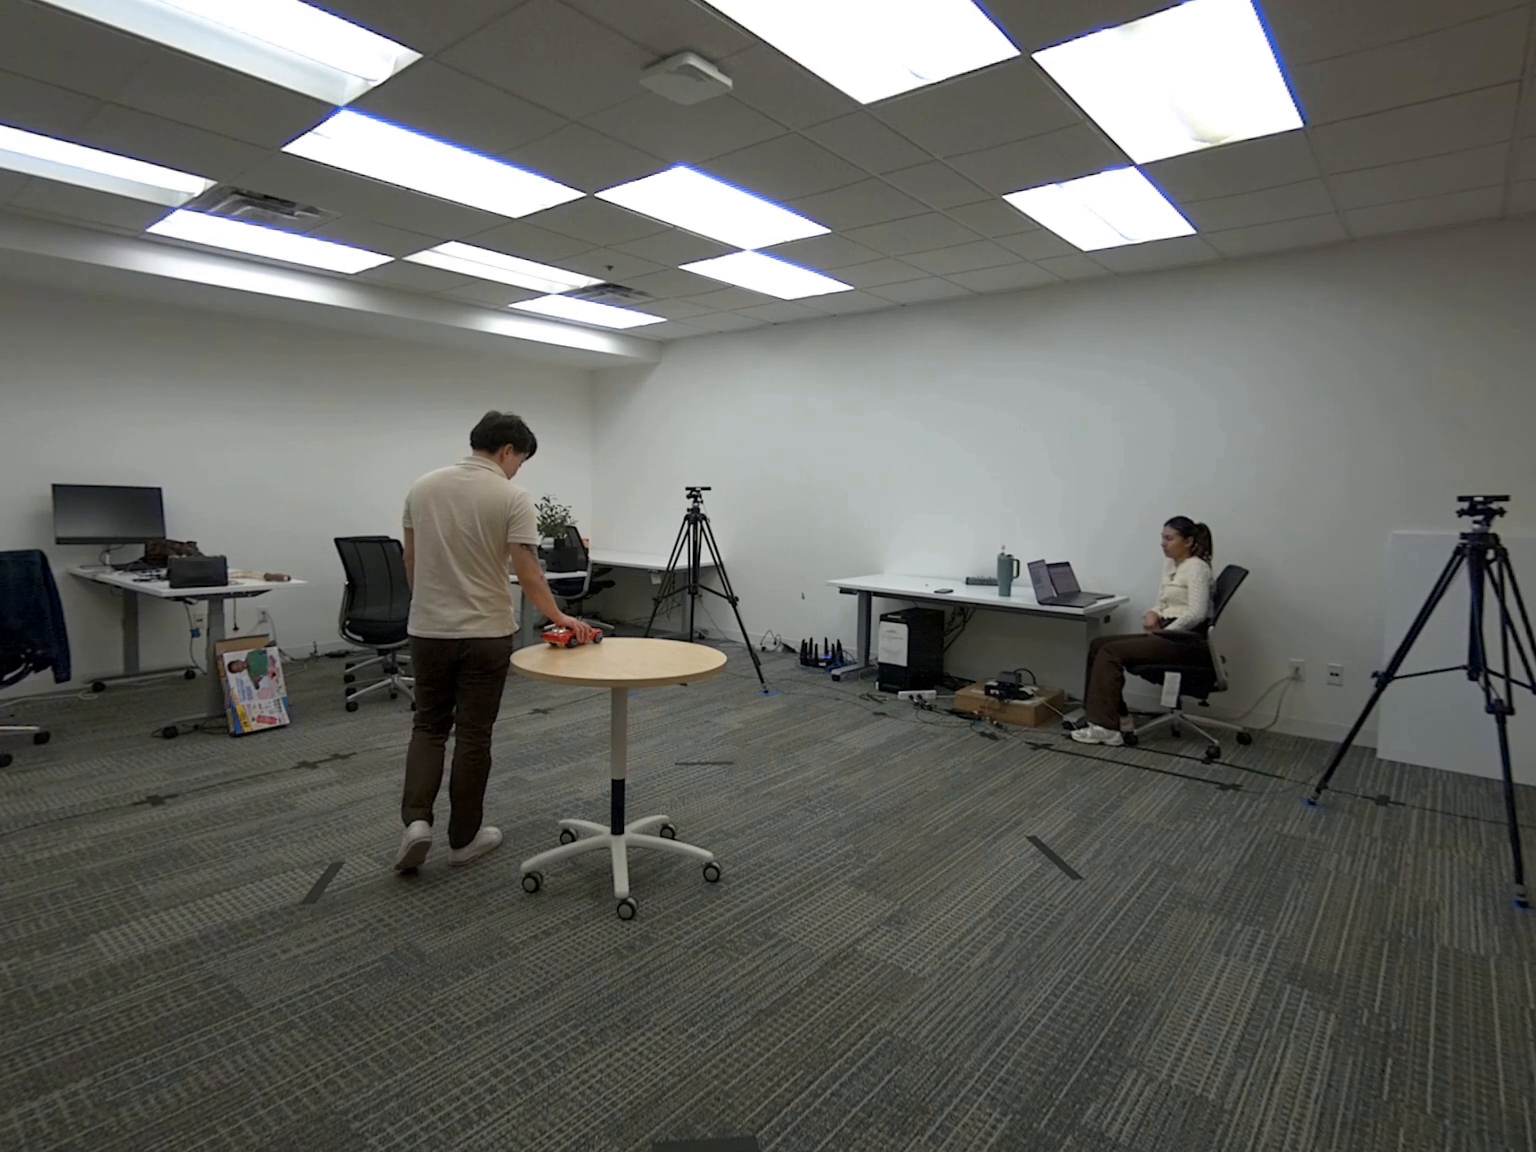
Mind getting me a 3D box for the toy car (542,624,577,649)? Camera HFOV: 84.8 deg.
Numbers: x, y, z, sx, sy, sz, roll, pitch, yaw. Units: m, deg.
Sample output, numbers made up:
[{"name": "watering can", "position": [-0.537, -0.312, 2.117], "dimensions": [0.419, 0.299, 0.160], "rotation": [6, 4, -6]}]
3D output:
[{"name": "toy car", "position": [-0.765, 0.231, 3.231], "dimensions": [0.134, 0.083, 0.245], "rotation": [6, -5, 33]}]
